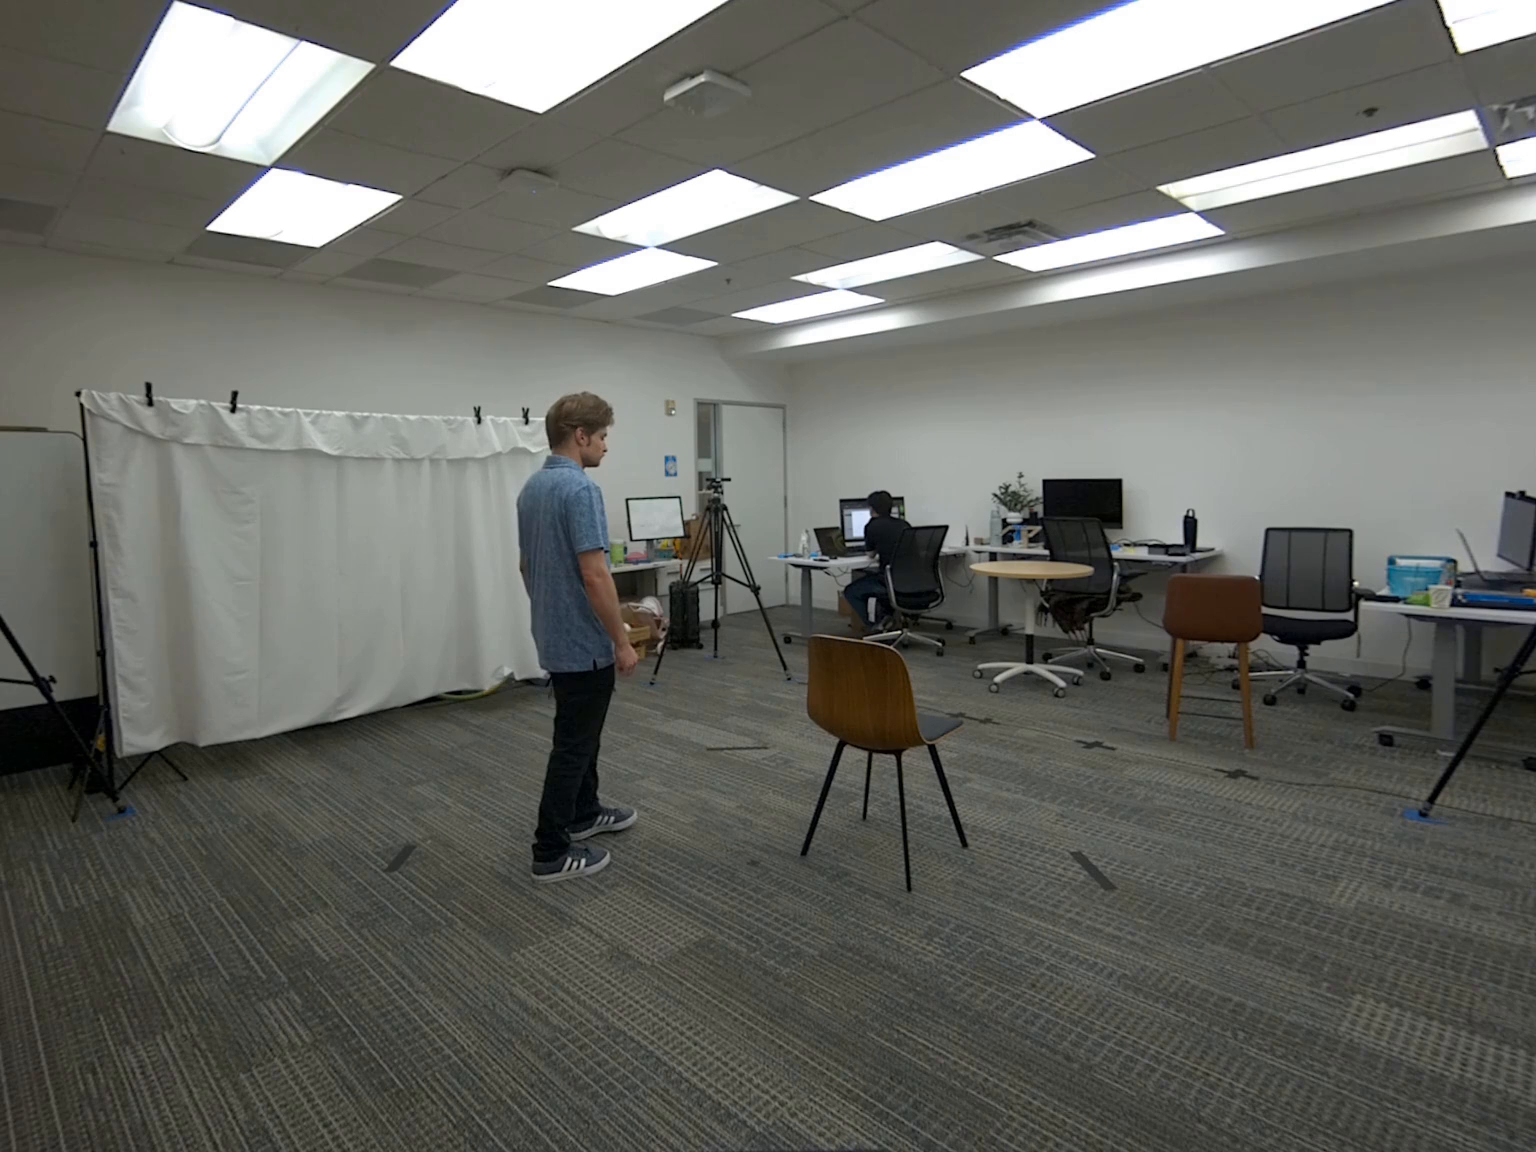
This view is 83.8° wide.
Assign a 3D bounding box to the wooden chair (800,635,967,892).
[{"bbox_3d":[0.432,0.597,3.153,0.492,0.871,0.511,2,10,39],"label":"wooden chair"}]
